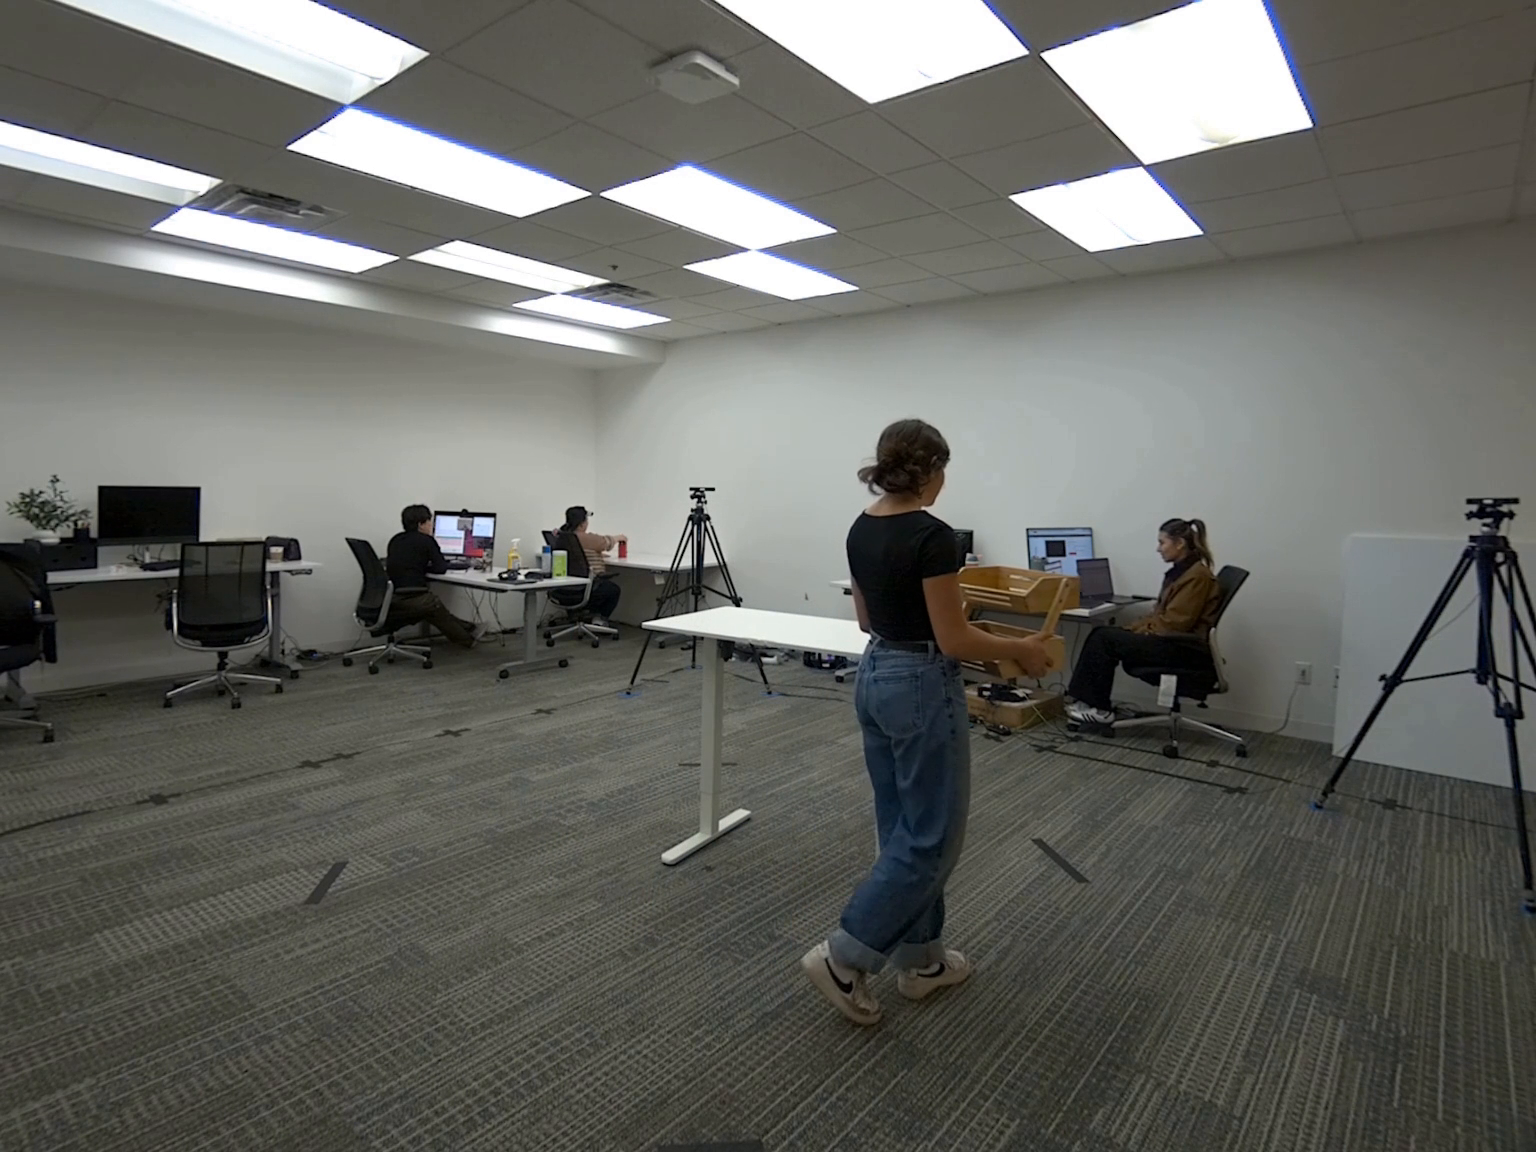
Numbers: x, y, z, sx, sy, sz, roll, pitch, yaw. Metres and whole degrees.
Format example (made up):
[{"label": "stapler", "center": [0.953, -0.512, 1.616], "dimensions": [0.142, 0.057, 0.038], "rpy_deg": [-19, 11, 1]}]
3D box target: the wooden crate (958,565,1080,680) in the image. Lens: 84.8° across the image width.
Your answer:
[{"label": "wooden crate", "center": [0.644, 0.119, 2.416], "dimensions": [0.294, 0.272, 0.335], "rpy_deg": [-2, 6, -30]}]
